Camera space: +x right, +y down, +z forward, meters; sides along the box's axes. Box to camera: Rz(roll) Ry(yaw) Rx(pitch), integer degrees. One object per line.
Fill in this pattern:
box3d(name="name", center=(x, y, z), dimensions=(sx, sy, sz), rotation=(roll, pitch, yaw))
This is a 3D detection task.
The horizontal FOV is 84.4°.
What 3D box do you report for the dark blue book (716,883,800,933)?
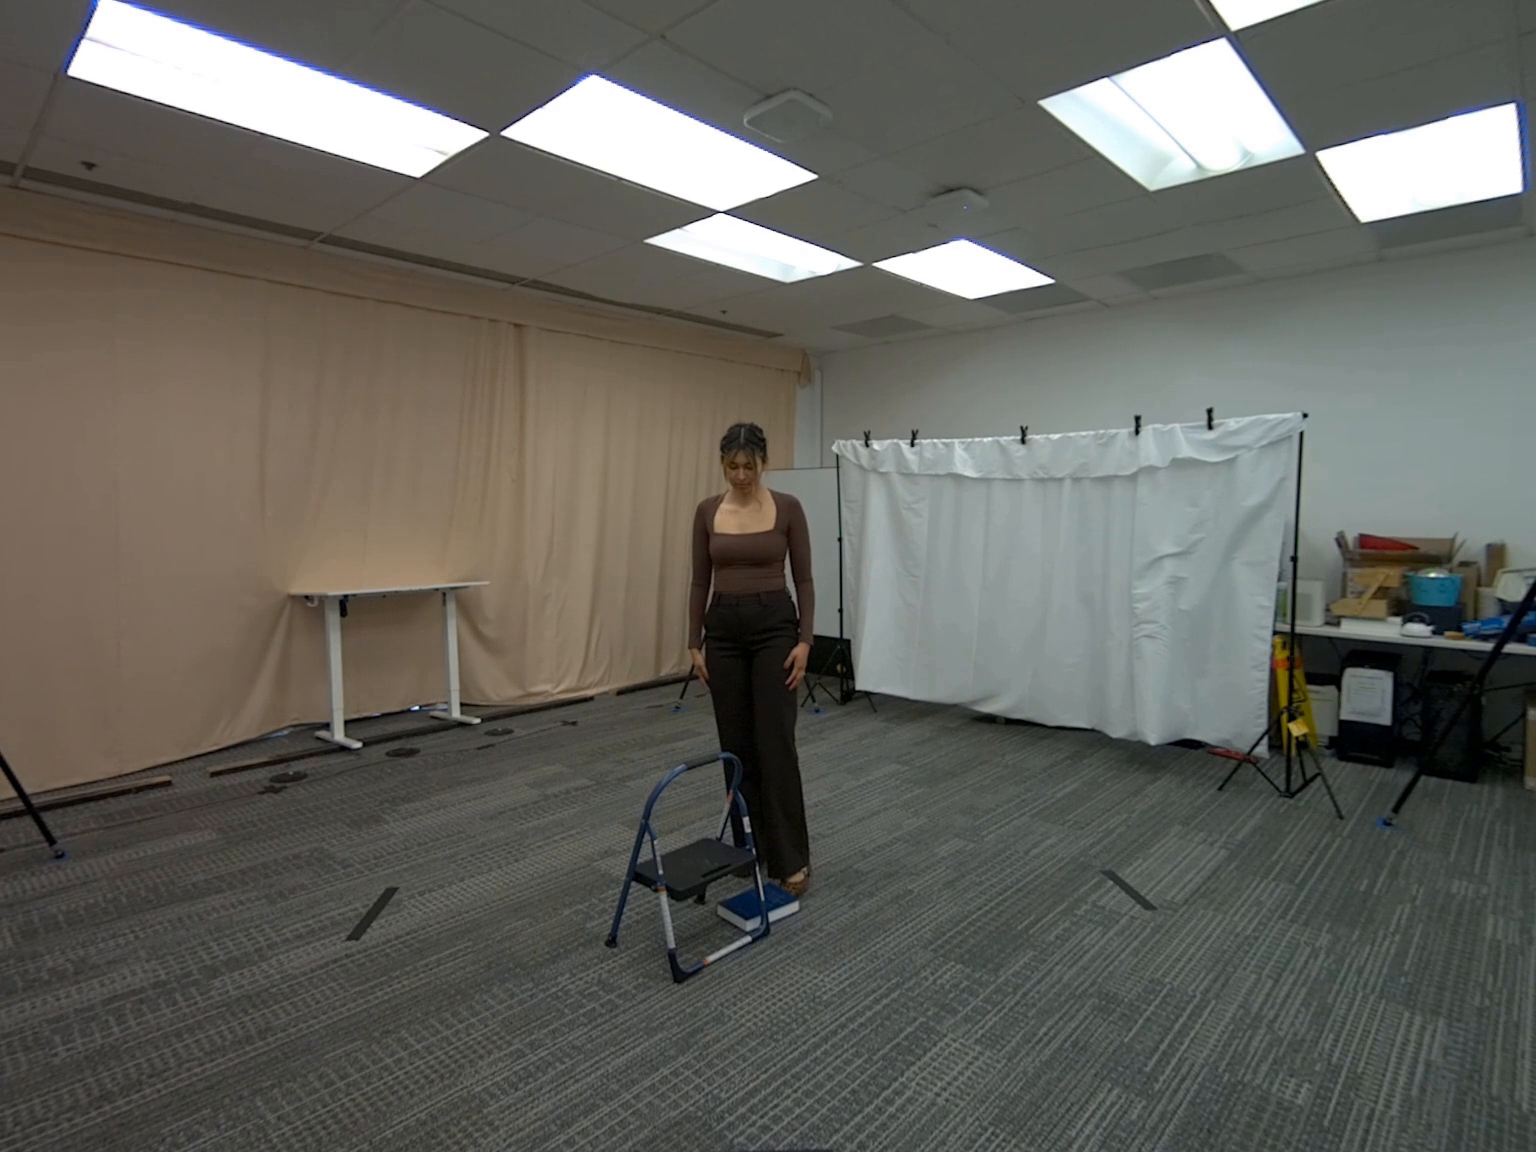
box3d(name="dark blue book", center=(-0.036, 1.125, 2.879), dimensions=(0.238, 0.045, 0.169), rotation=(-4, 6, -40))
